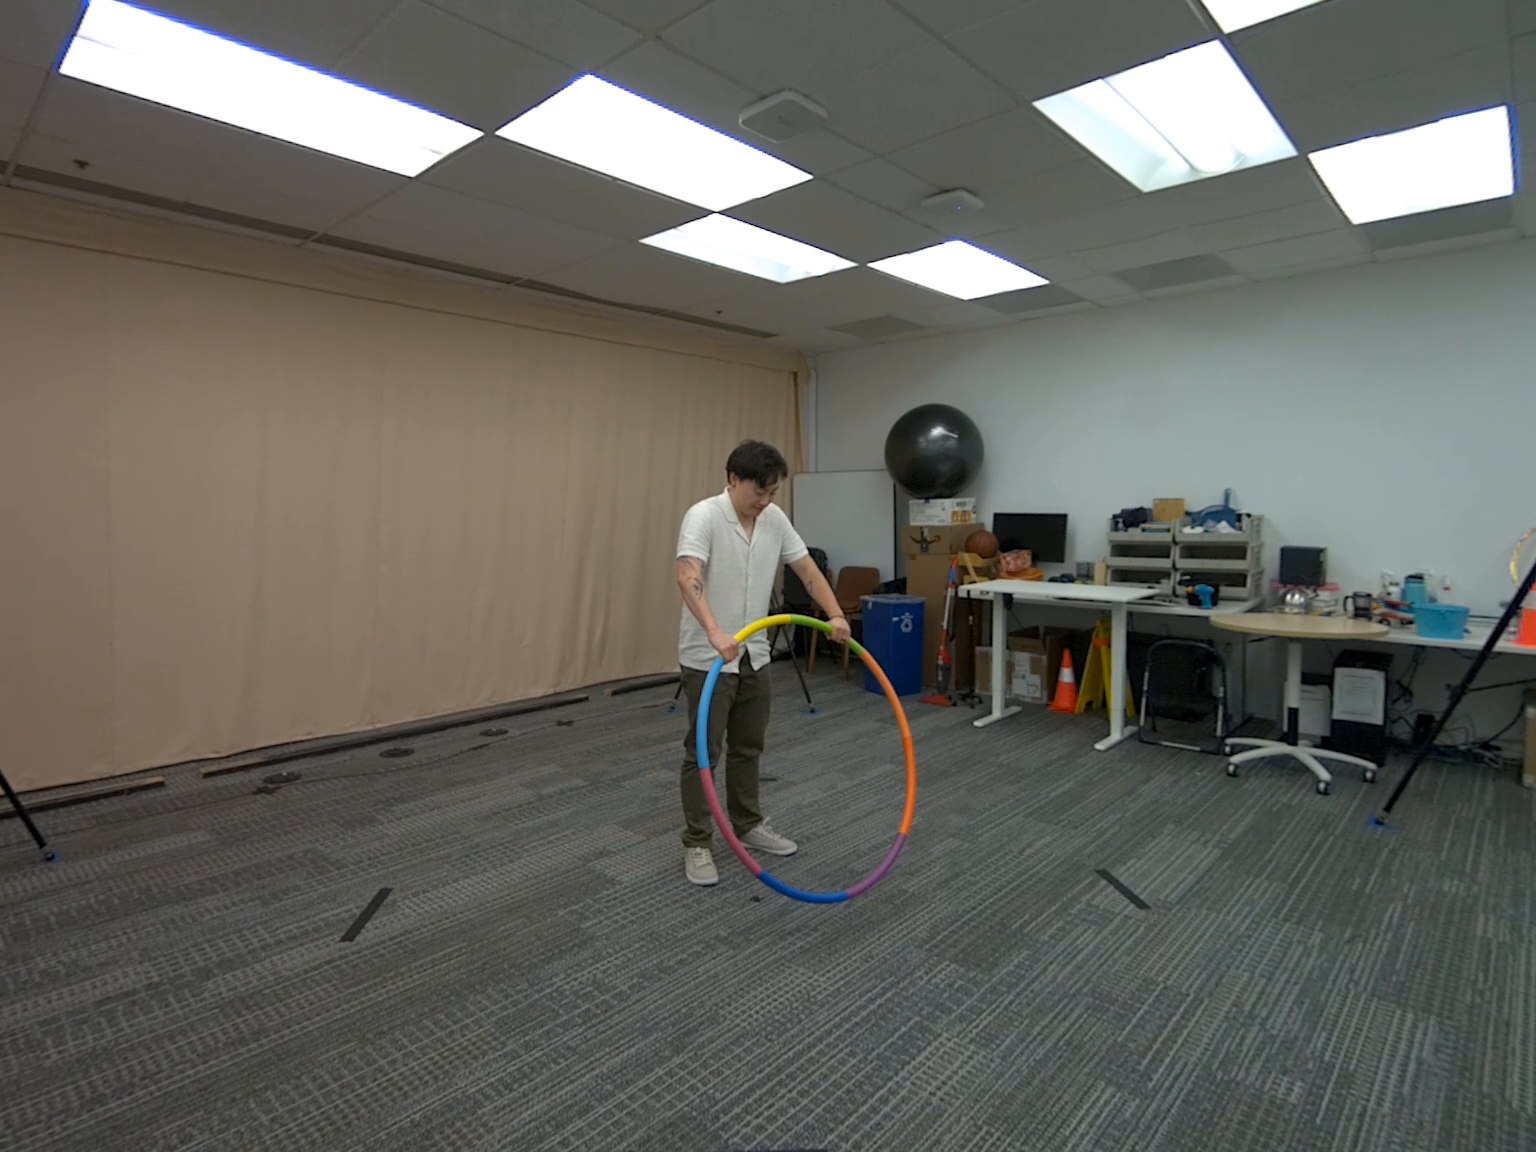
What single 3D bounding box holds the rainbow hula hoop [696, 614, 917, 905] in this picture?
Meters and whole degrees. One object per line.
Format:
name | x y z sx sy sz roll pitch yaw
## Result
rainbow hula hoop | 0.172 0.615 2.923 0.949 0.990 0.036 -3 -18 -40
